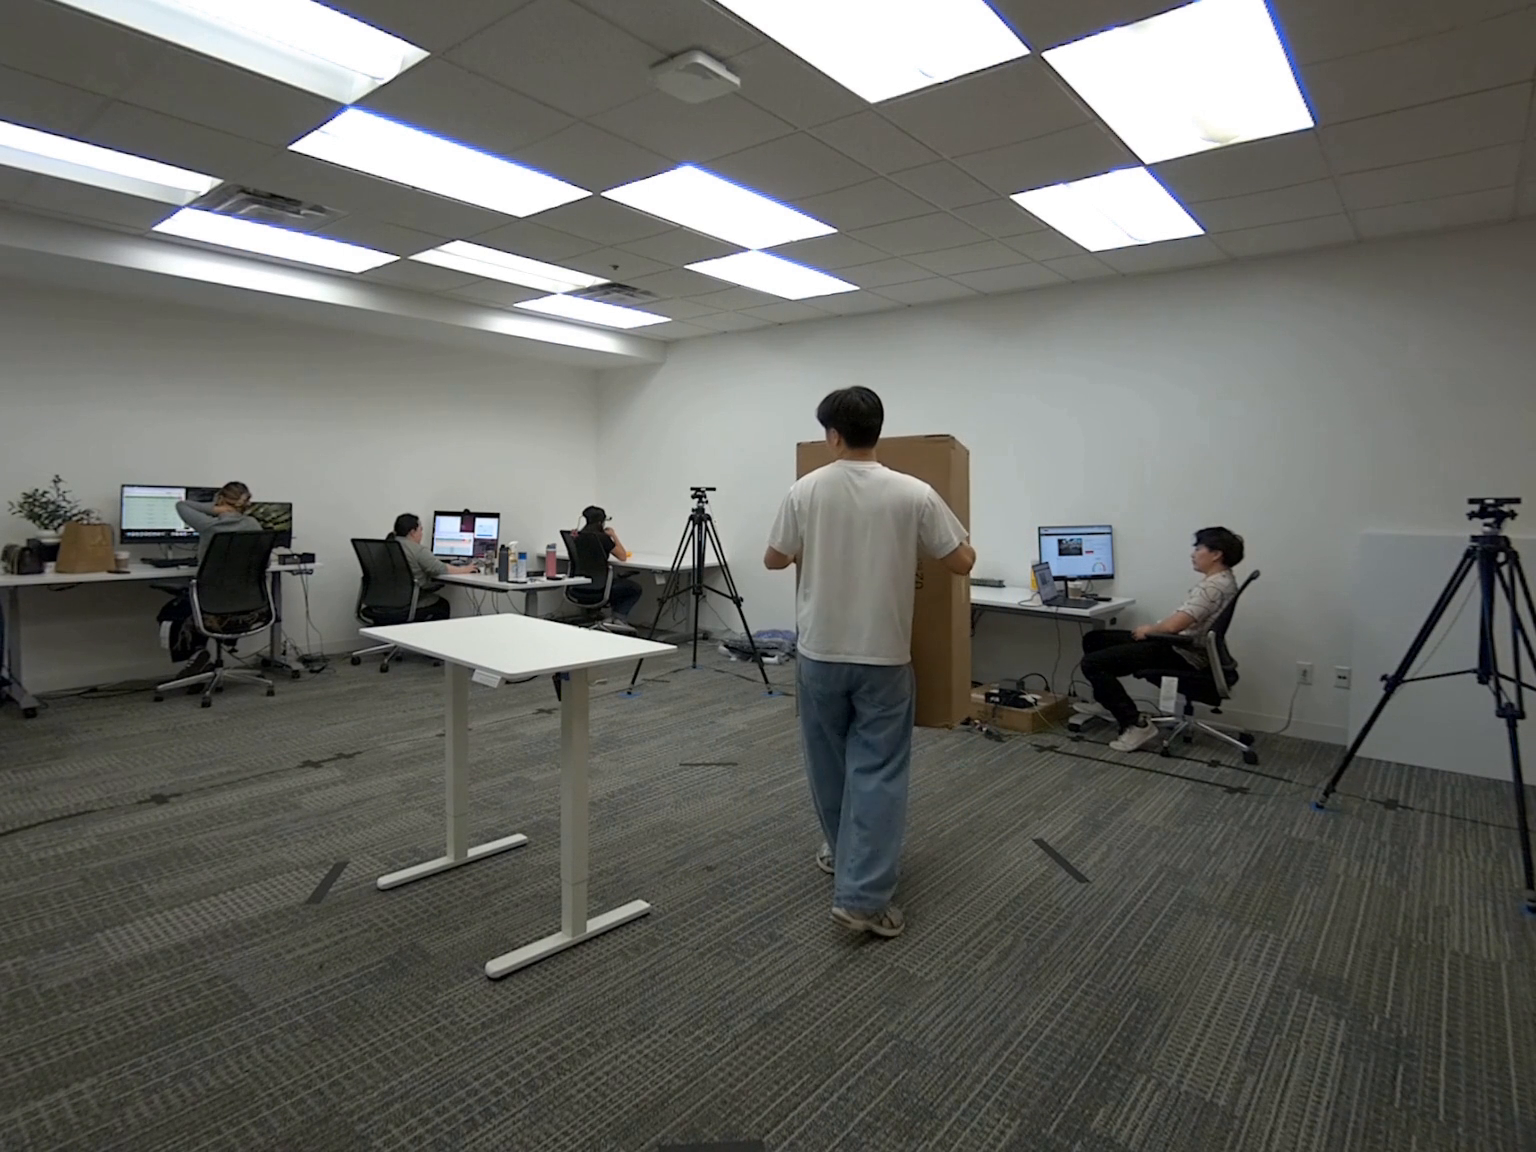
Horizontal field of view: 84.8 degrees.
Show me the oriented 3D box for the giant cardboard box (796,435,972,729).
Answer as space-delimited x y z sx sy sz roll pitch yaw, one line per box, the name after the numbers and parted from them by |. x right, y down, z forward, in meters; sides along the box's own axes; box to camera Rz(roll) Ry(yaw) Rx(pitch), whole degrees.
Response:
0.439 0.005 3.248 0.592 1.029 0.415 -1 -3 25 | giant cardboard box
